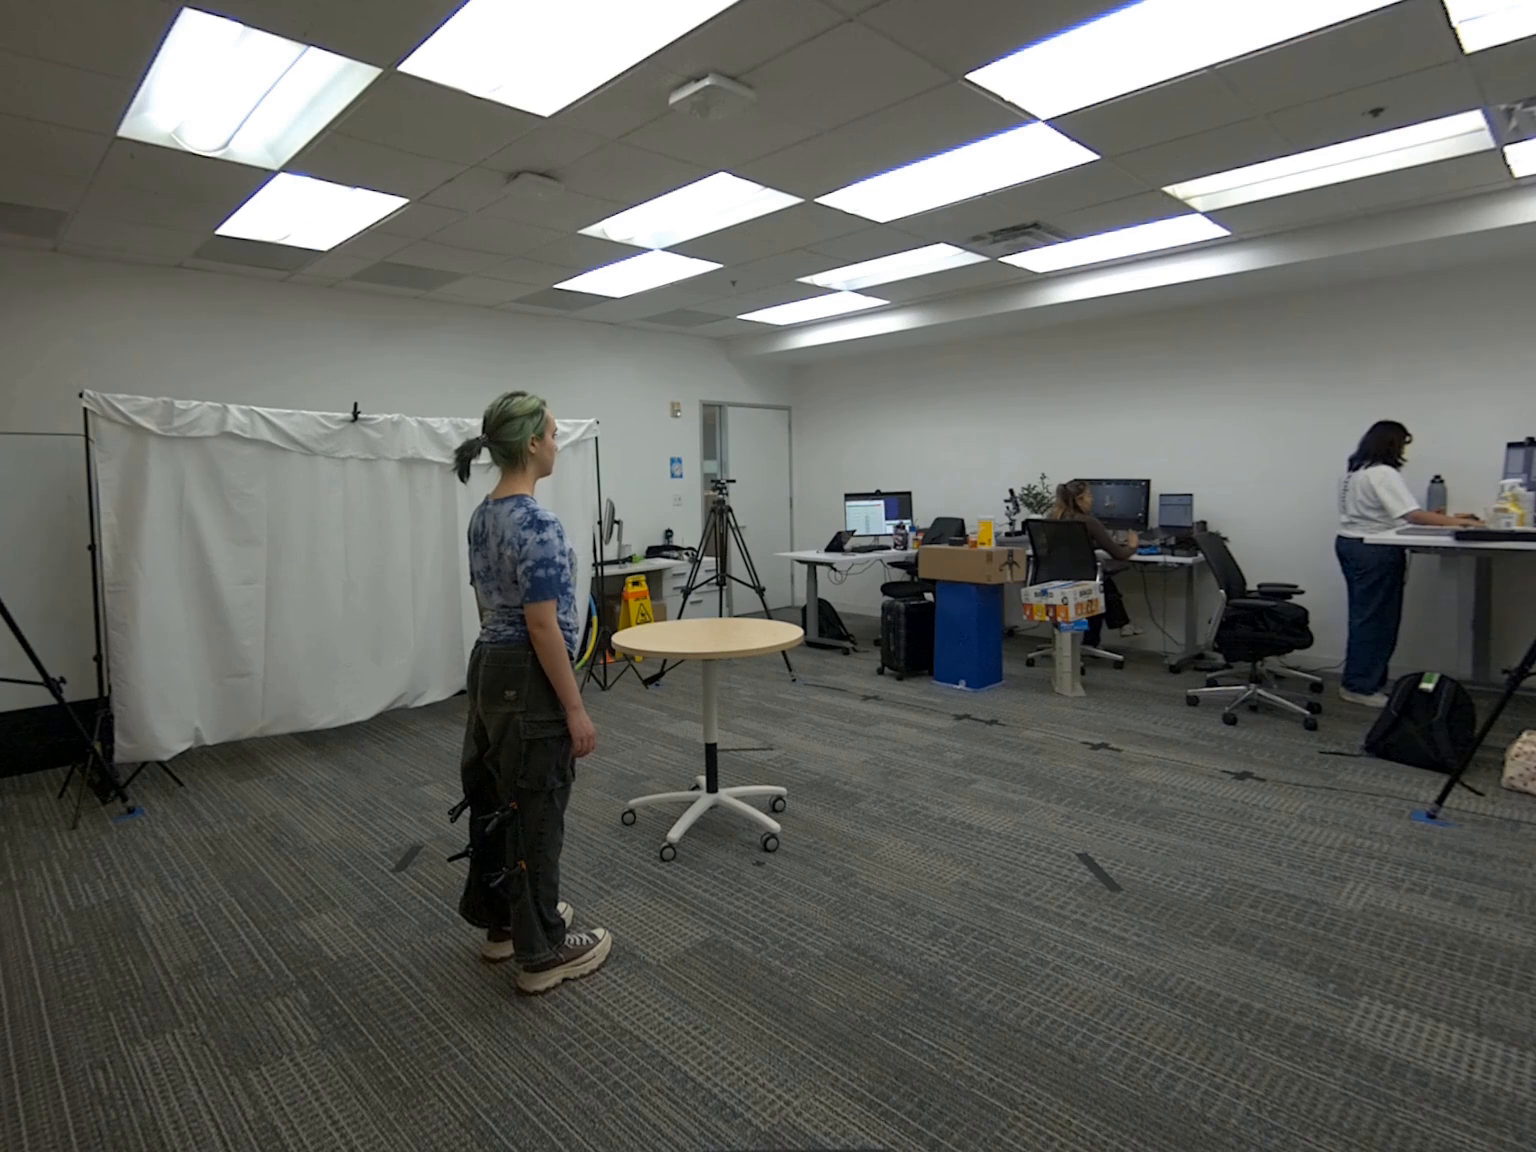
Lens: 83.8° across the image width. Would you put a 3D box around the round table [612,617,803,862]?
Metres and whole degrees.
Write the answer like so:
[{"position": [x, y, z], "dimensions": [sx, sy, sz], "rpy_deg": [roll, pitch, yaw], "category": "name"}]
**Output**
[{"position": [-0.228, 0.624, 3.431], "dimensions": [0.763, 0.791, 0.768], "rpy_deg": [-2, 5, -2], "category": "round table"}]
